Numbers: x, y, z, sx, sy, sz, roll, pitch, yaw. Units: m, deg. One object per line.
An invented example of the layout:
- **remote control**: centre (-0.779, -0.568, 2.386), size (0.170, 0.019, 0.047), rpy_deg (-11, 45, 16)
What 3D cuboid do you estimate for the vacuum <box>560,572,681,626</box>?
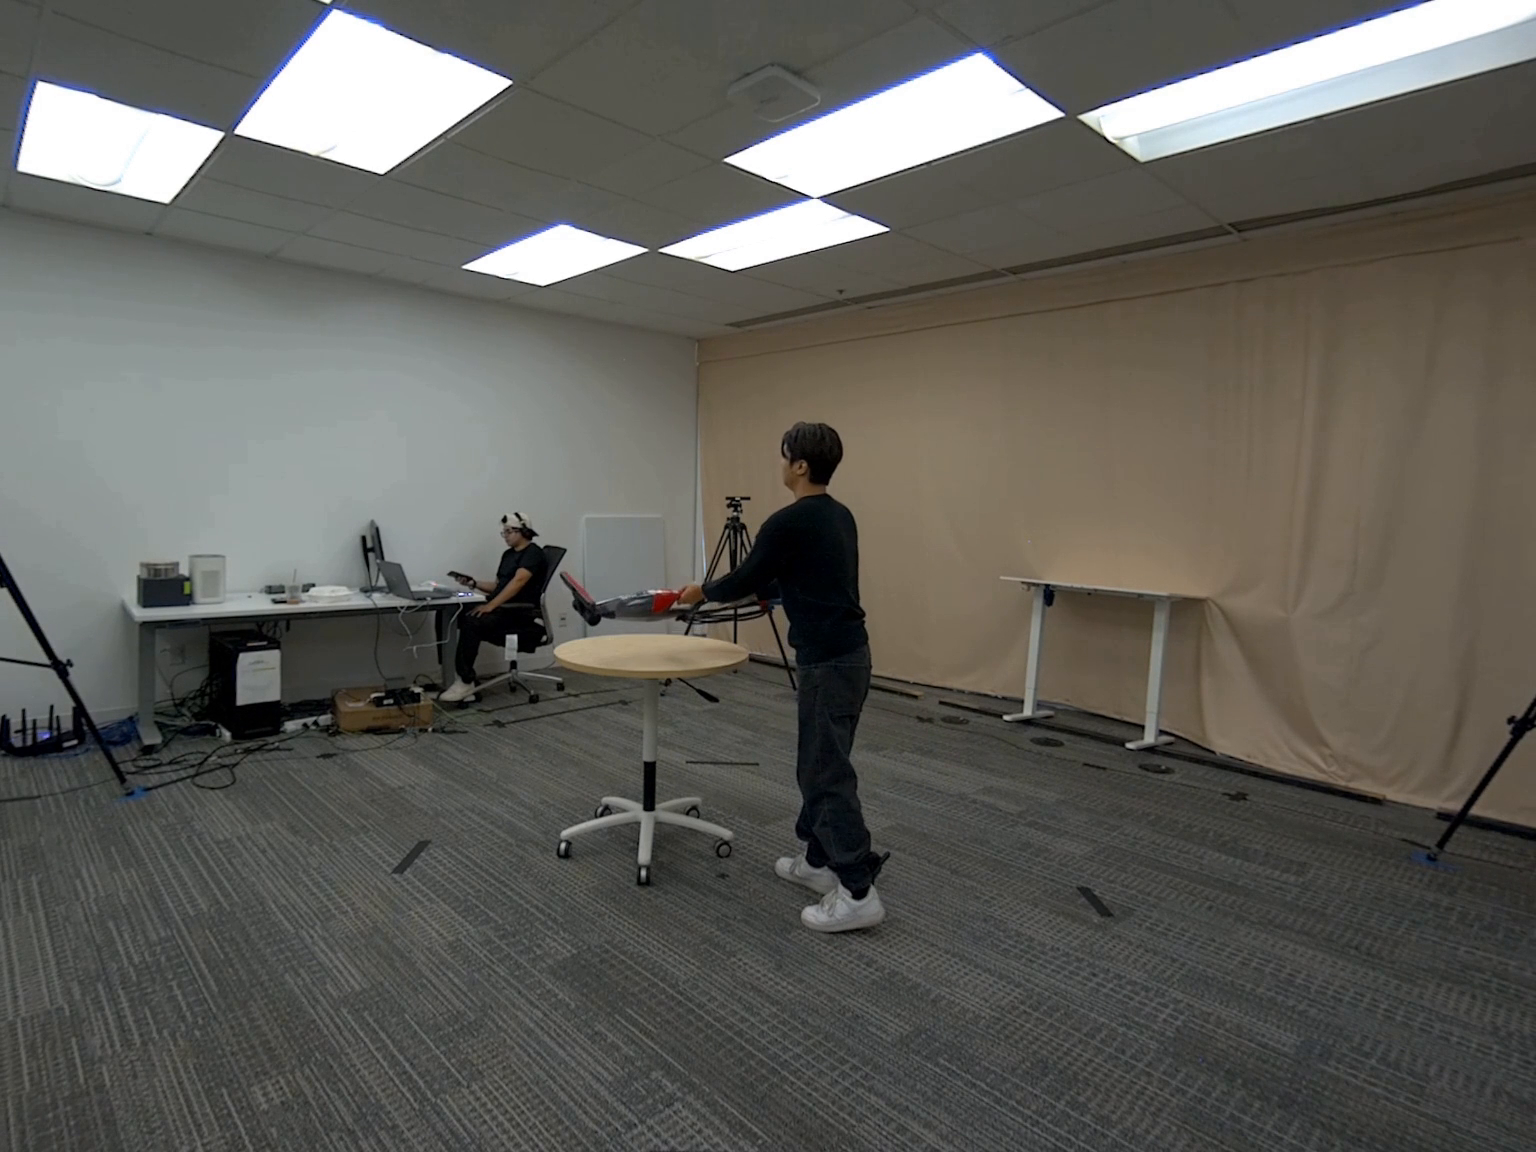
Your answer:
- **vacuum**: centre (-0.274, 0.135, 3.277), size (1.023, 0.143, 0.260), rpy_deg (4, 17, -39)
